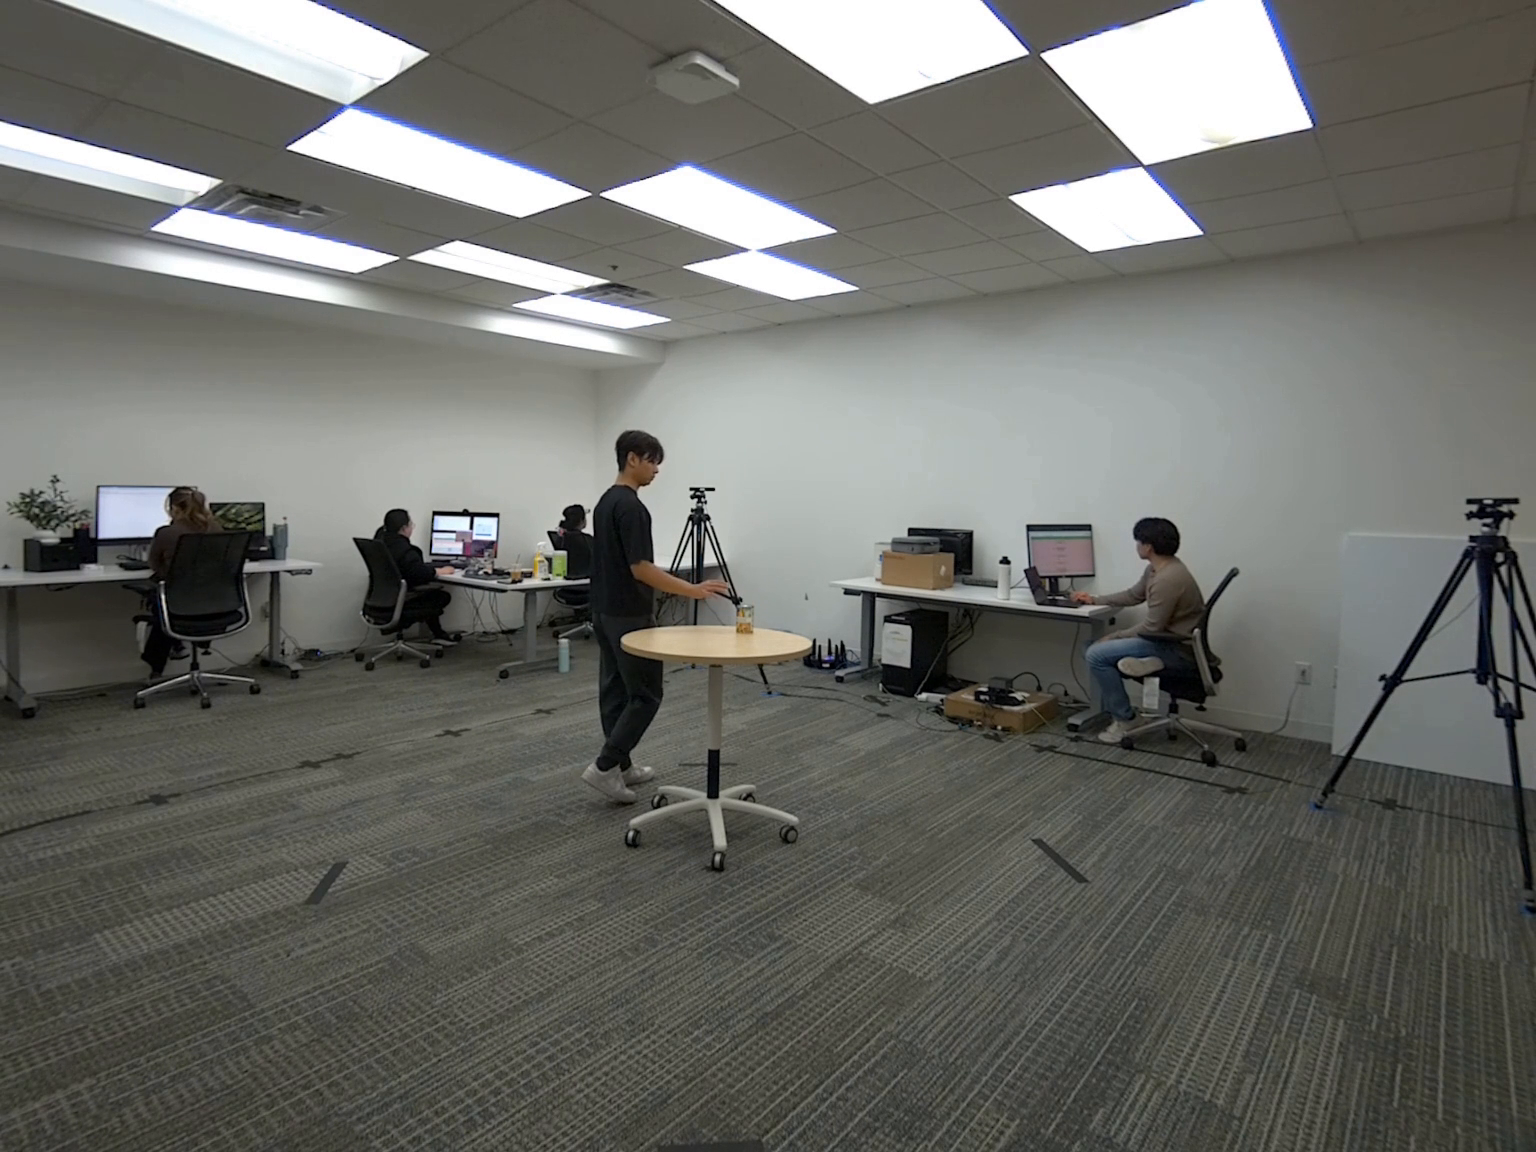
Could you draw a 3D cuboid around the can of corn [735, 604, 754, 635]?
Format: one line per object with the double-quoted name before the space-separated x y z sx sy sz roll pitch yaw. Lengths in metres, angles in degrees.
"can of corn" -0.106 0.182 3.643 0.074 0.111 0.074 0 3 -2
